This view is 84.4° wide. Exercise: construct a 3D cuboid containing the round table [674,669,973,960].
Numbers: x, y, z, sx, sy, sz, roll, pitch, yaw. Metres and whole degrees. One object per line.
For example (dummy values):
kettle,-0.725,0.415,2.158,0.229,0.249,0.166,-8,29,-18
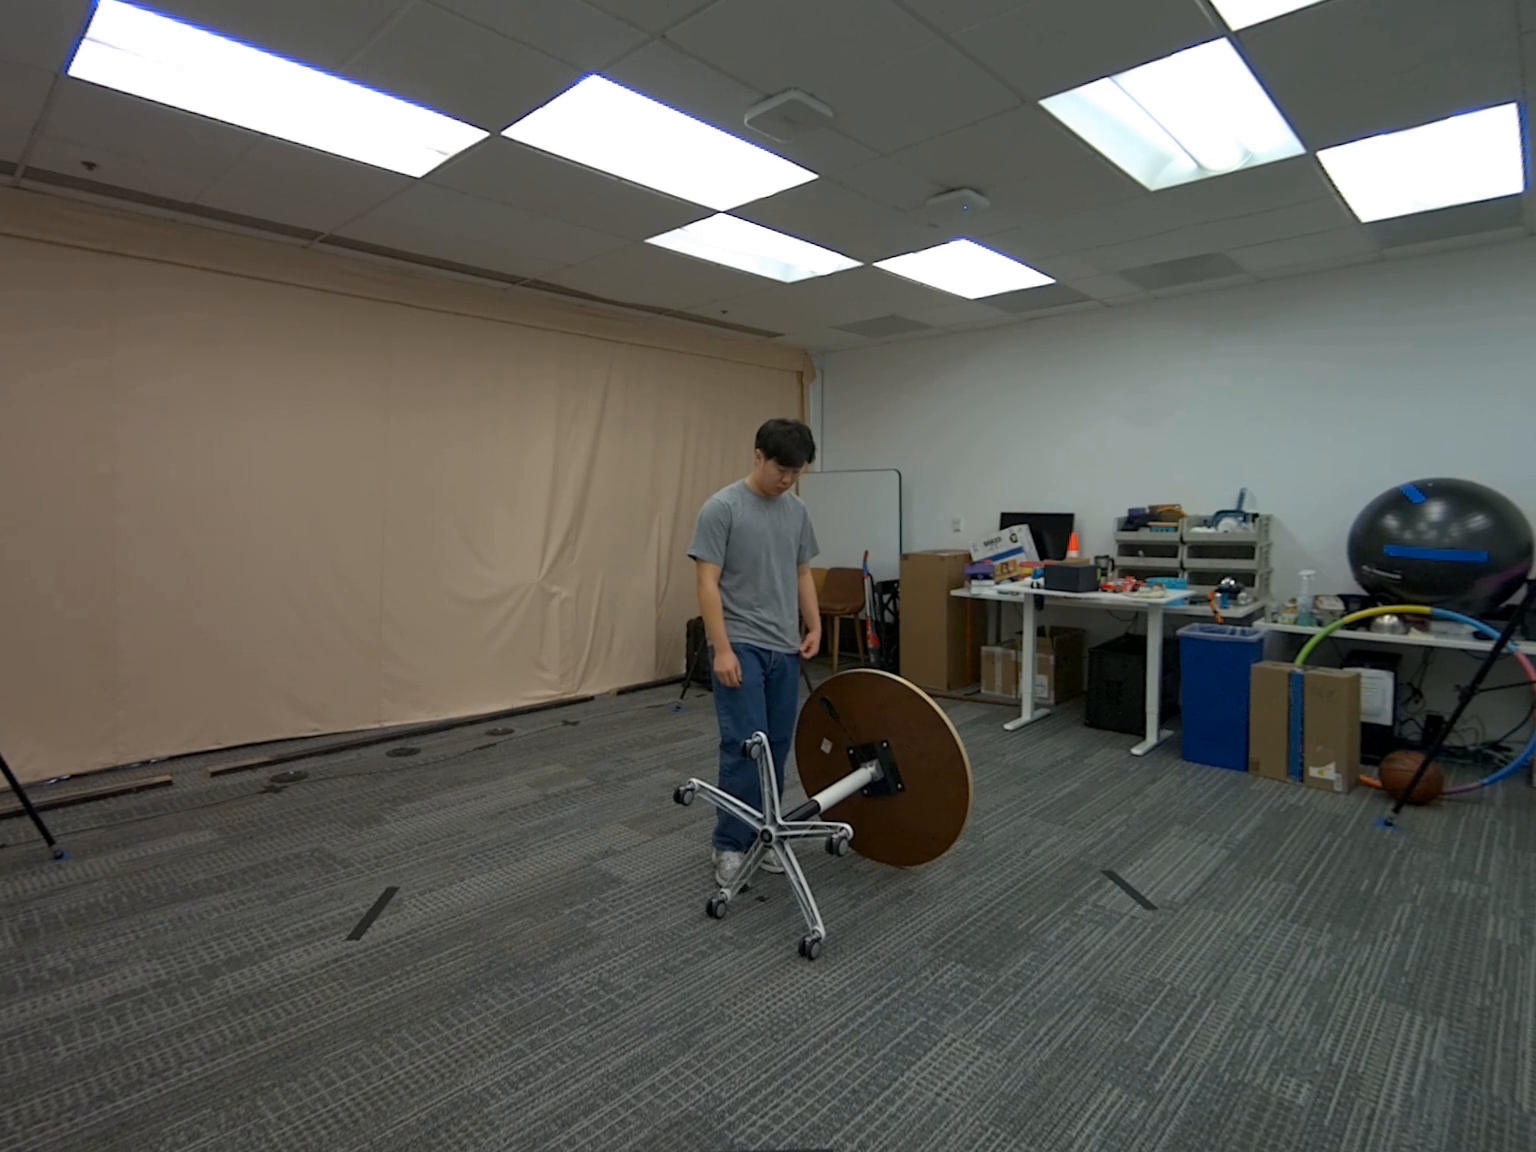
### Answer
round table,0.197,0.803,2.958,0.789,0.759,0.773,3,11,39
